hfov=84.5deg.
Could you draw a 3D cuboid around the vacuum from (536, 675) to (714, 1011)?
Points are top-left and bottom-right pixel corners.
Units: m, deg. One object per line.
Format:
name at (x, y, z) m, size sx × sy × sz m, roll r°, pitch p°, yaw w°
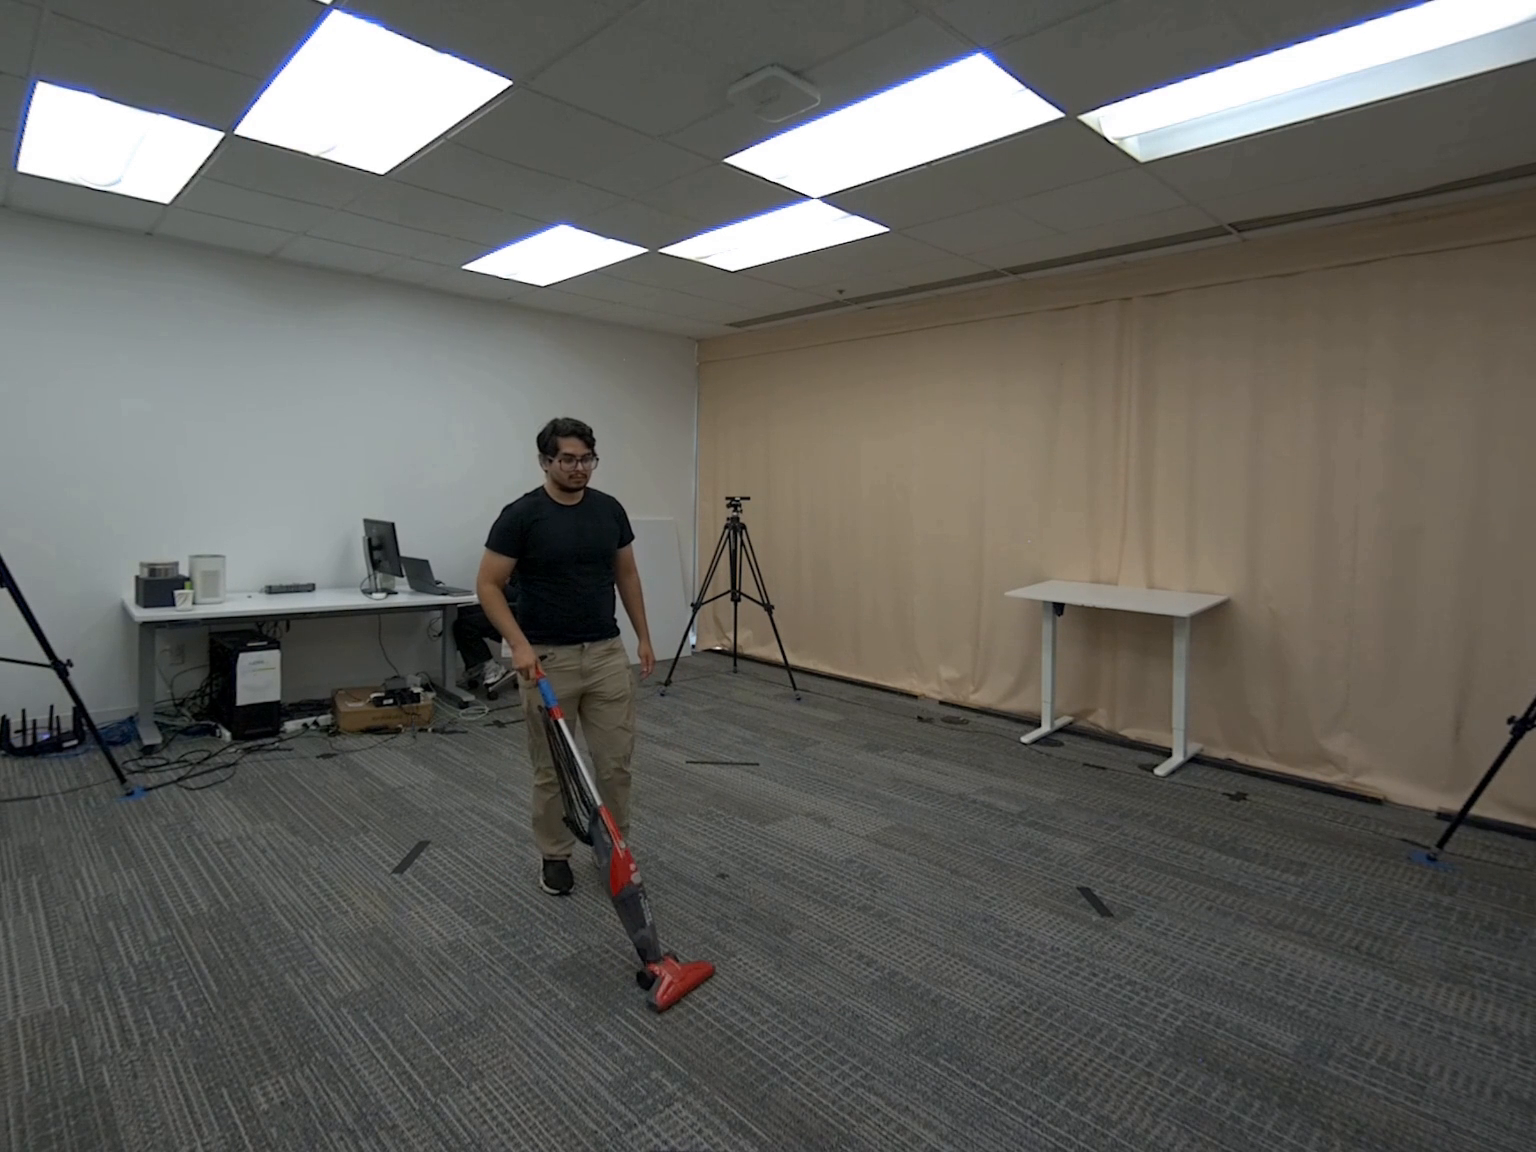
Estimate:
vacuum at (-0.527, 0.732, 2.567) m, size 0.144 × 1.070 × 0.247 m, roll -41°, pitch -22°, yaw 30°
